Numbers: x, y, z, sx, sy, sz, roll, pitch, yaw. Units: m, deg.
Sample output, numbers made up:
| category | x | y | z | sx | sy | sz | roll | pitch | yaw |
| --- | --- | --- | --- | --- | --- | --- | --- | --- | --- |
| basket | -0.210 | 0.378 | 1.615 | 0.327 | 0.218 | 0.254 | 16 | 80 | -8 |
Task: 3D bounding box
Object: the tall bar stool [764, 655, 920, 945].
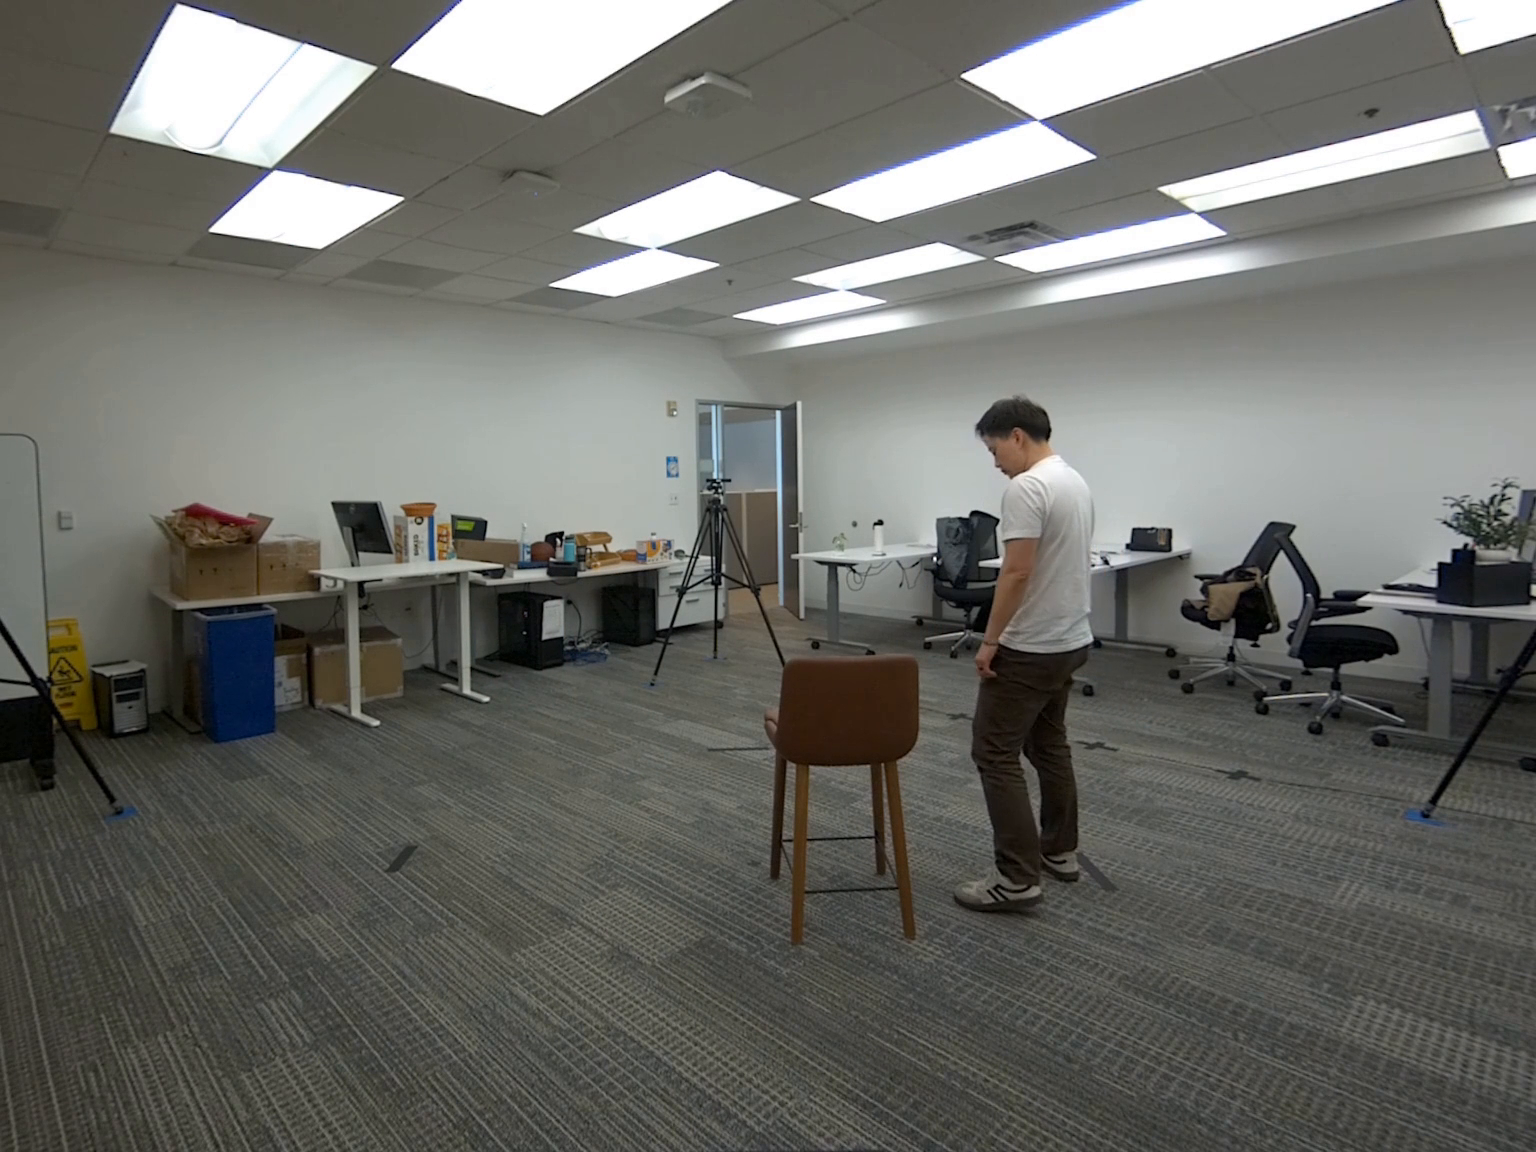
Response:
| category | x | y | z | sx | sy | sz | roll | pitch | yaw |
| --- | --- | --- | --- | --- | --- | --- | --- | --- | --- |
| tall bar stool | 0.227 | 0.646 | 2.754 | 0.454 | 0.885 | 0.472 | -1 | 6 | -5 |
